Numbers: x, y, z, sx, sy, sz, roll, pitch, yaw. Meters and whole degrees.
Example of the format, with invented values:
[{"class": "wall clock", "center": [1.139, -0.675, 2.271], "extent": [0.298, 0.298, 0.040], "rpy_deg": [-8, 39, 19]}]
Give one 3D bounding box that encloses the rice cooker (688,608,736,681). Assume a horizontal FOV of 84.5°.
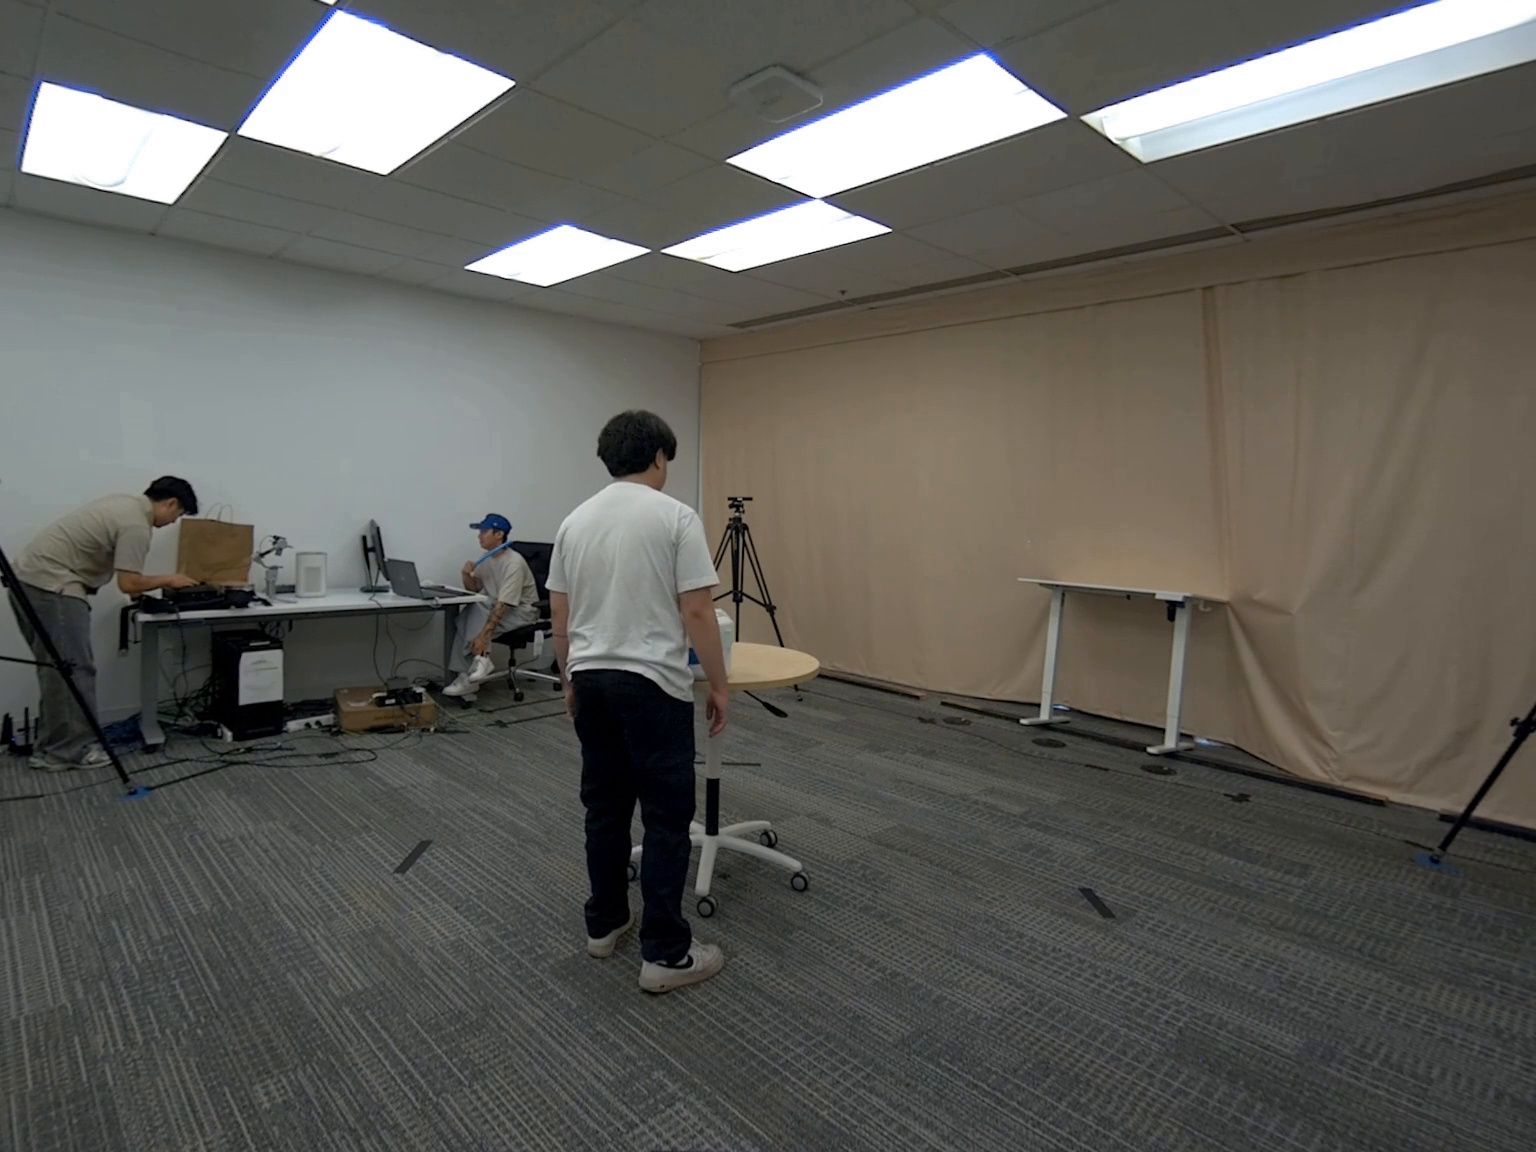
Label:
[{"class": "rice cooker", "center": [-0.221, 0.225, 2.814], "extent": [0.219, 0.232, 0.219], "rpy_deg": [2, 6, -7]}]
